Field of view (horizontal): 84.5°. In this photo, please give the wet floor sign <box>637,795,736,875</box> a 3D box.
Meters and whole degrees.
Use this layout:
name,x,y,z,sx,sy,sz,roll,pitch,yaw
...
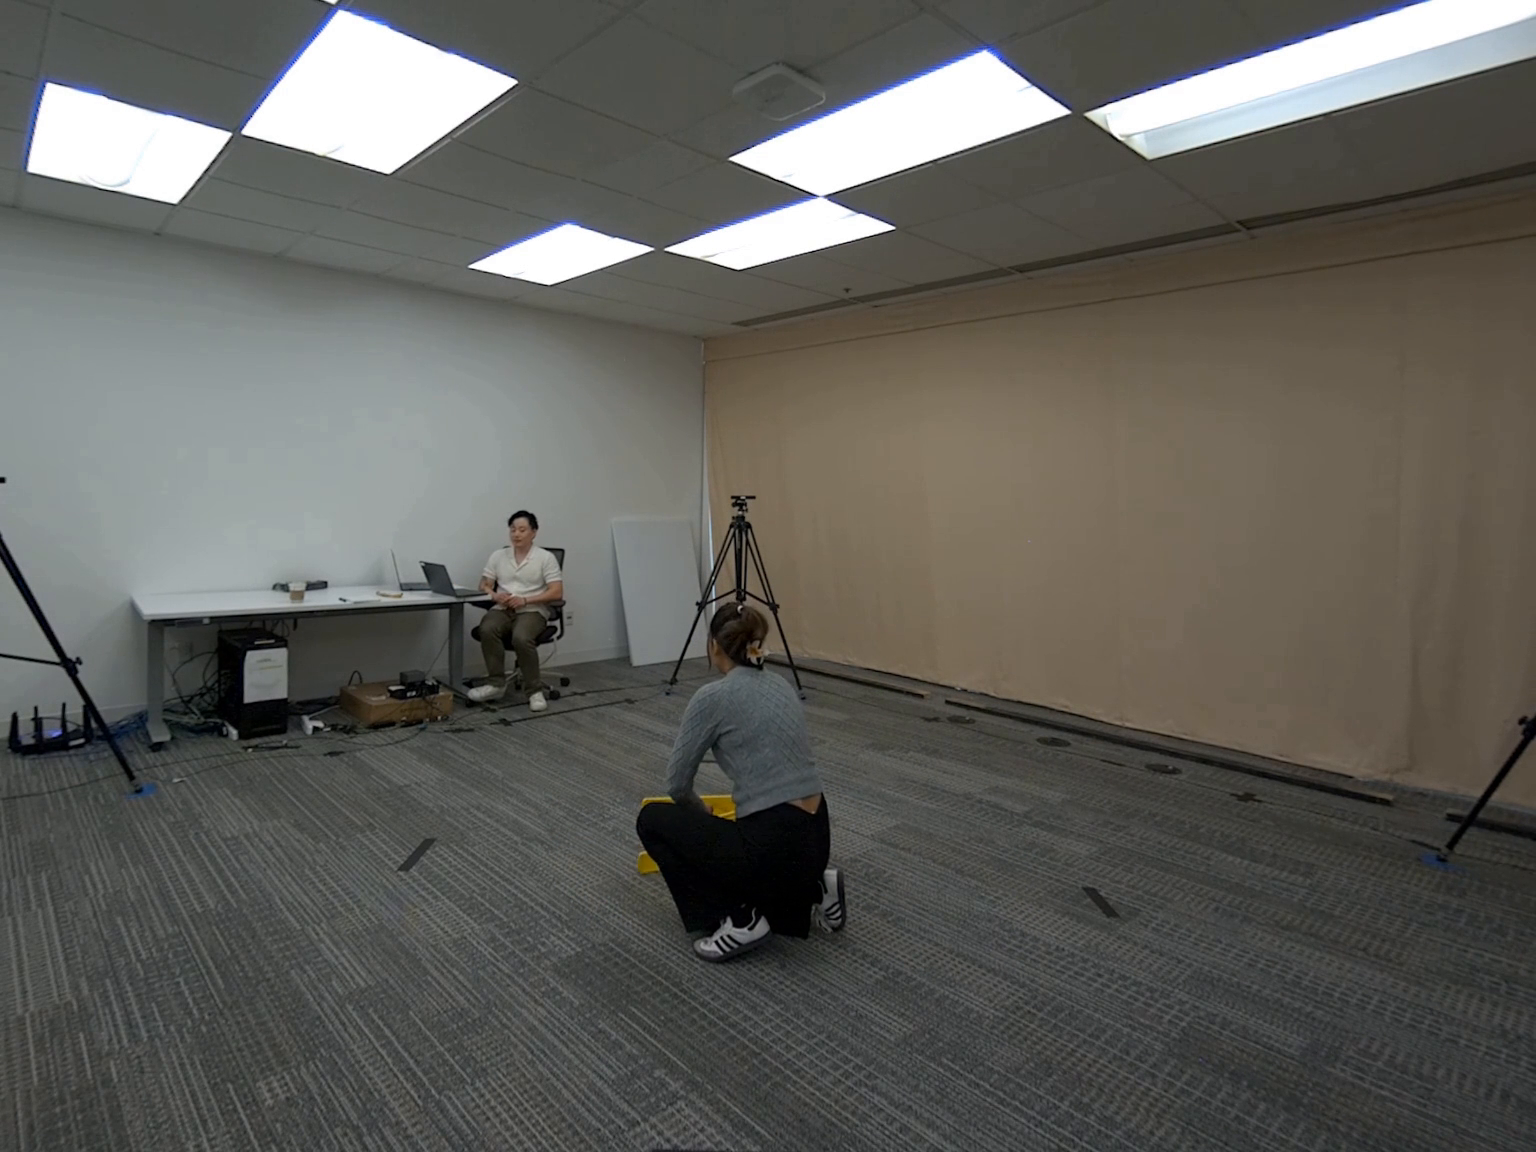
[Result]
name,x,y,z,sx,sy,sz,roll,pitch,yaw
wet floor sign,-0.137,0.977,3.165,0.631,0.282,0.297,2,5,-38
